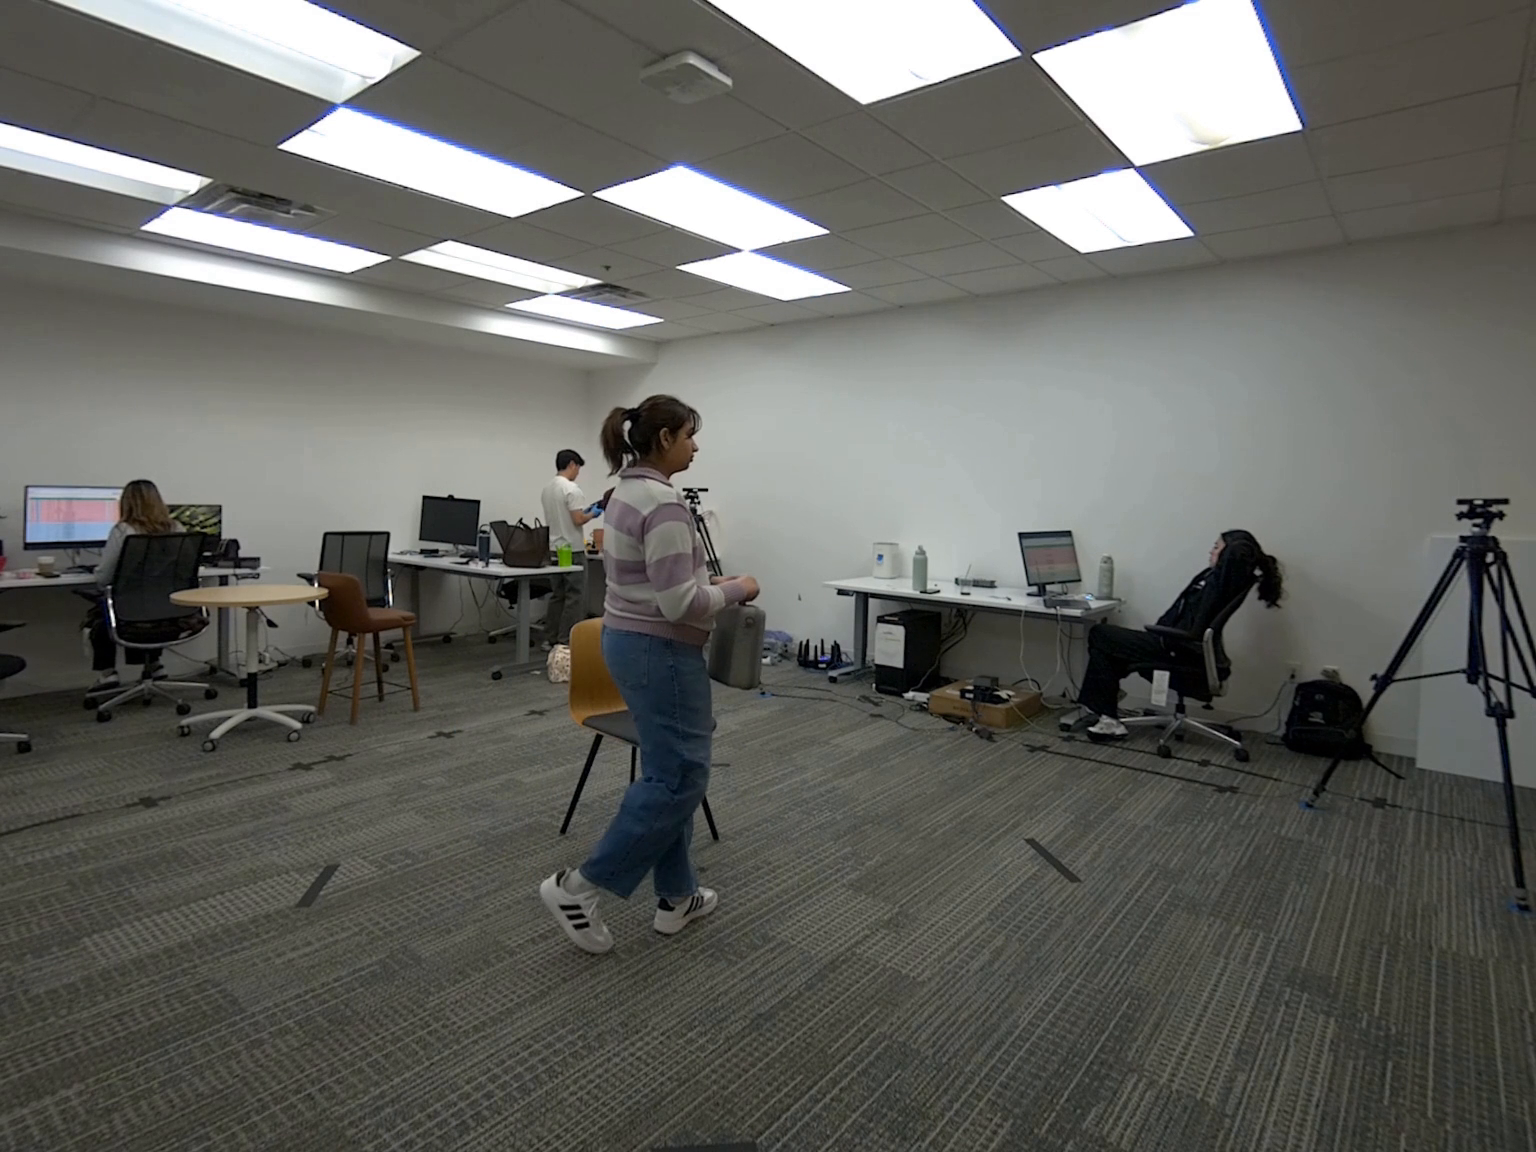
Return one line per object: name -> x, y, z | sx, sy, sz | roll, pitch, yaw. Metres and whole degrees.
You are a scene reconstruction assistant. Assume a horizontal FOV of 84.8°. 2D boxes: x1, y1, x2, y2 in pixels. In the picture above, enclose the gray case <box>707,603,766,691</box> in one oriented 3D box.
gray case -> -0.105, 0.214, 2.662 | 0.102, 0.262, 0.262 | 8, -4, -23
